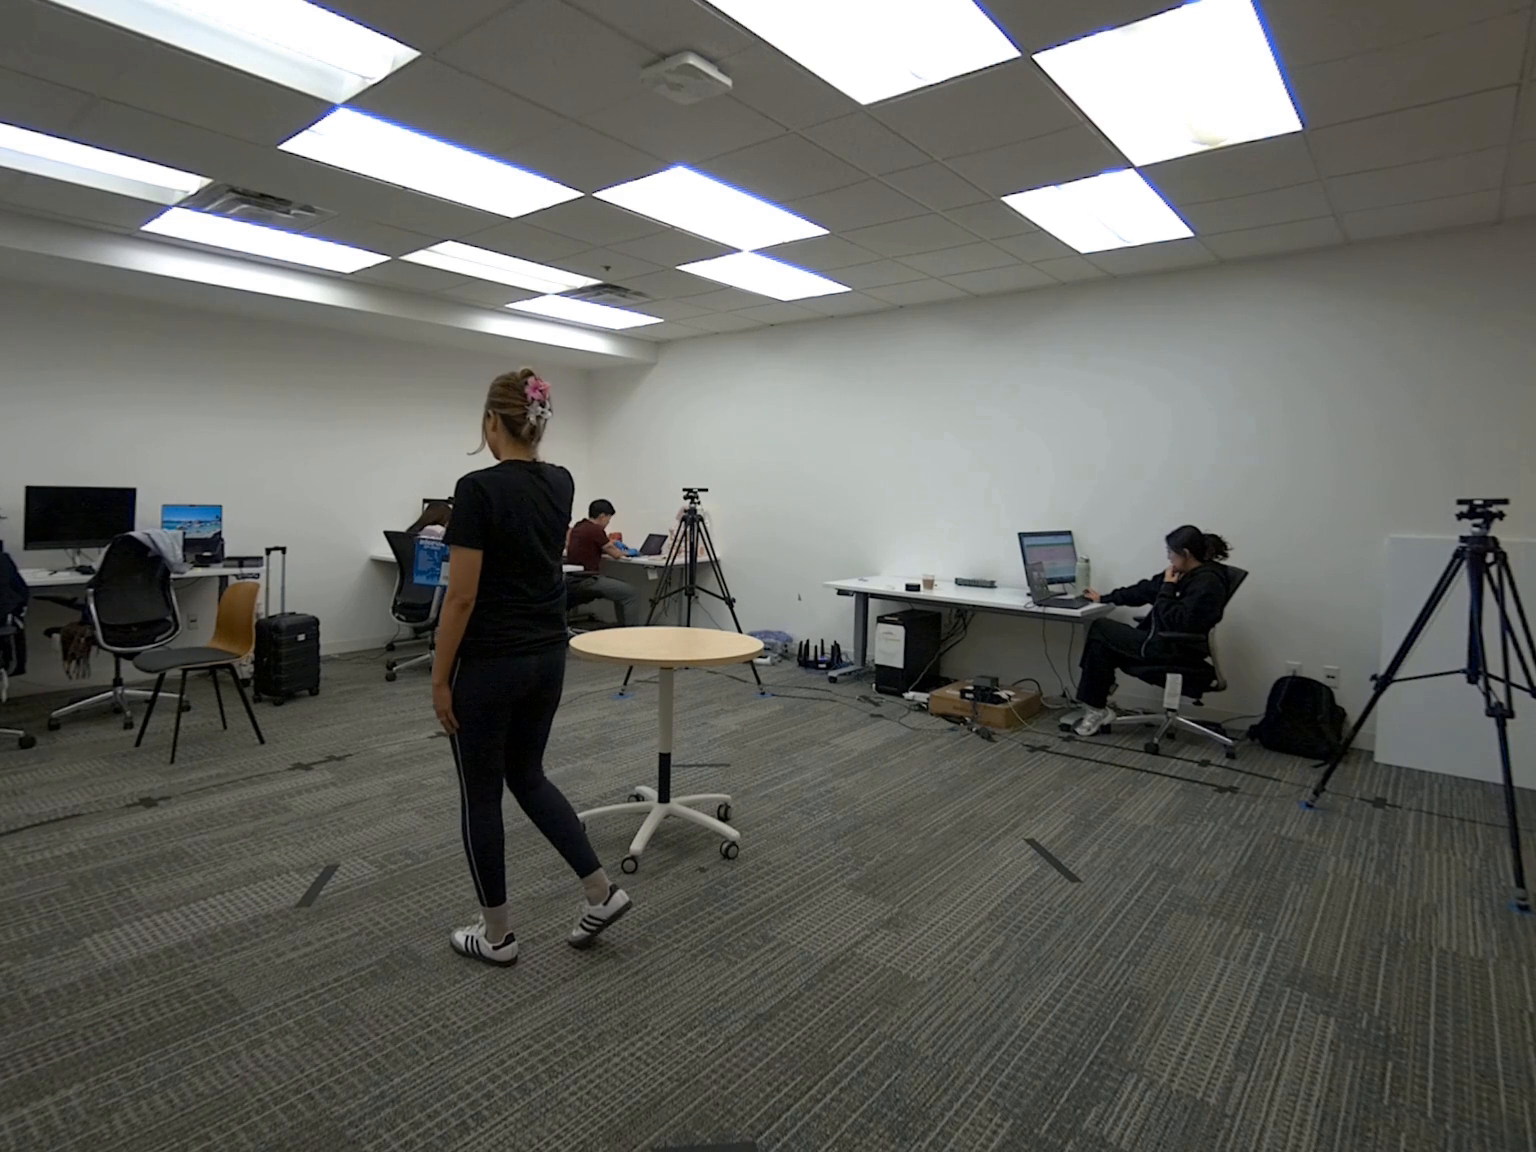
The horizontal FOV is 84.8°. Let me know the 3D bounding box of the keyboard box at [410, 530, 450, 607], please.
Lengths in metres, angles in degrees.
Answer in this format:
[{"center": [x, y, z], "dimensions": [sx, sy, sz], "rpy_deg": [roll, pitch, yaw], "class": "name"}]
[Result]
[{"center": [-1.069, -0.031, 3.075], "dimensions": [0.434, 0.175, 0.060], "rpy_deg": [6, 4, -5], "class": "keyboard box"}]
